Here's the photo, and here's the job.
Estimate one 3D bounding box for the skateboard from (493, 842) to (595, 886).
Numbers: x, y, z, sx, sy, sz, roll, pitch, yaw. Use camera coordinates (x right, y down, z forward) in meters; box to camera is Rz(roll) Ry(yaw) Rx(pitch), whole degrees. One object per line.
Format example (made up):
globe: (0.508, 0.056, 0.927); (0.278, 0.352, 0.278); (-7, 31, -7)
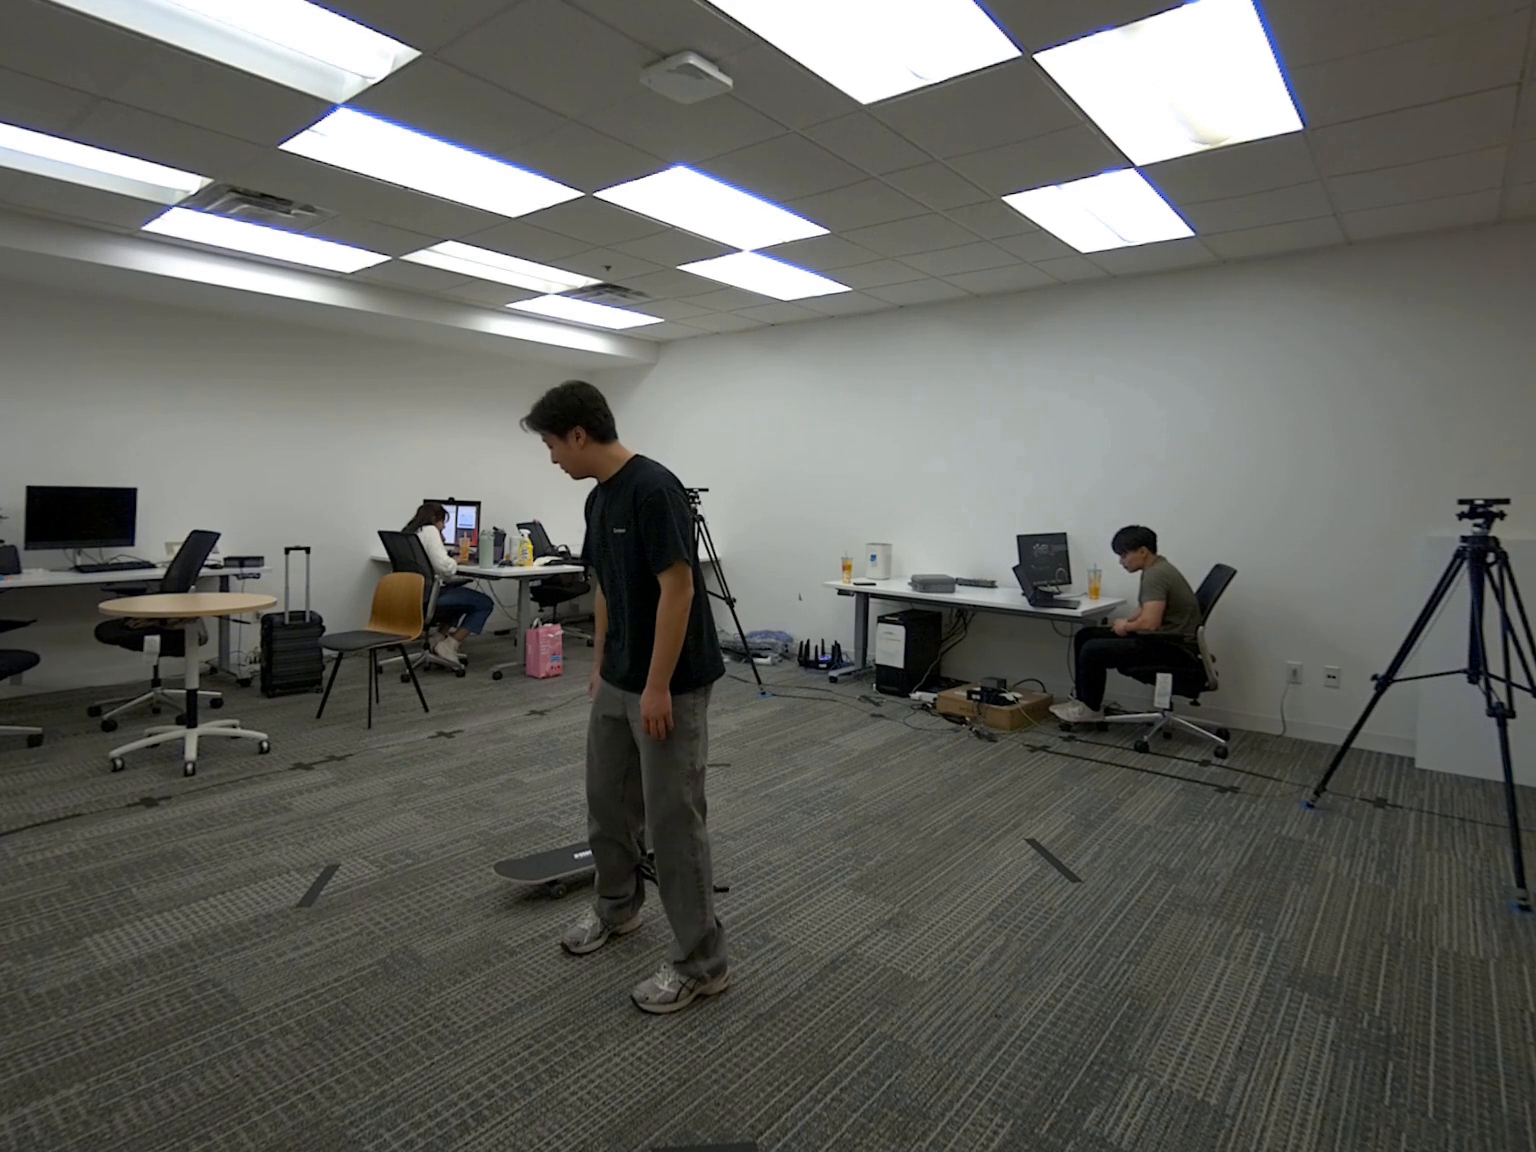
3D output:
skateboard: (-0.607, 1.011, 3.045); (0.762, 0.110, 0.200); (-3, 6, -36)
